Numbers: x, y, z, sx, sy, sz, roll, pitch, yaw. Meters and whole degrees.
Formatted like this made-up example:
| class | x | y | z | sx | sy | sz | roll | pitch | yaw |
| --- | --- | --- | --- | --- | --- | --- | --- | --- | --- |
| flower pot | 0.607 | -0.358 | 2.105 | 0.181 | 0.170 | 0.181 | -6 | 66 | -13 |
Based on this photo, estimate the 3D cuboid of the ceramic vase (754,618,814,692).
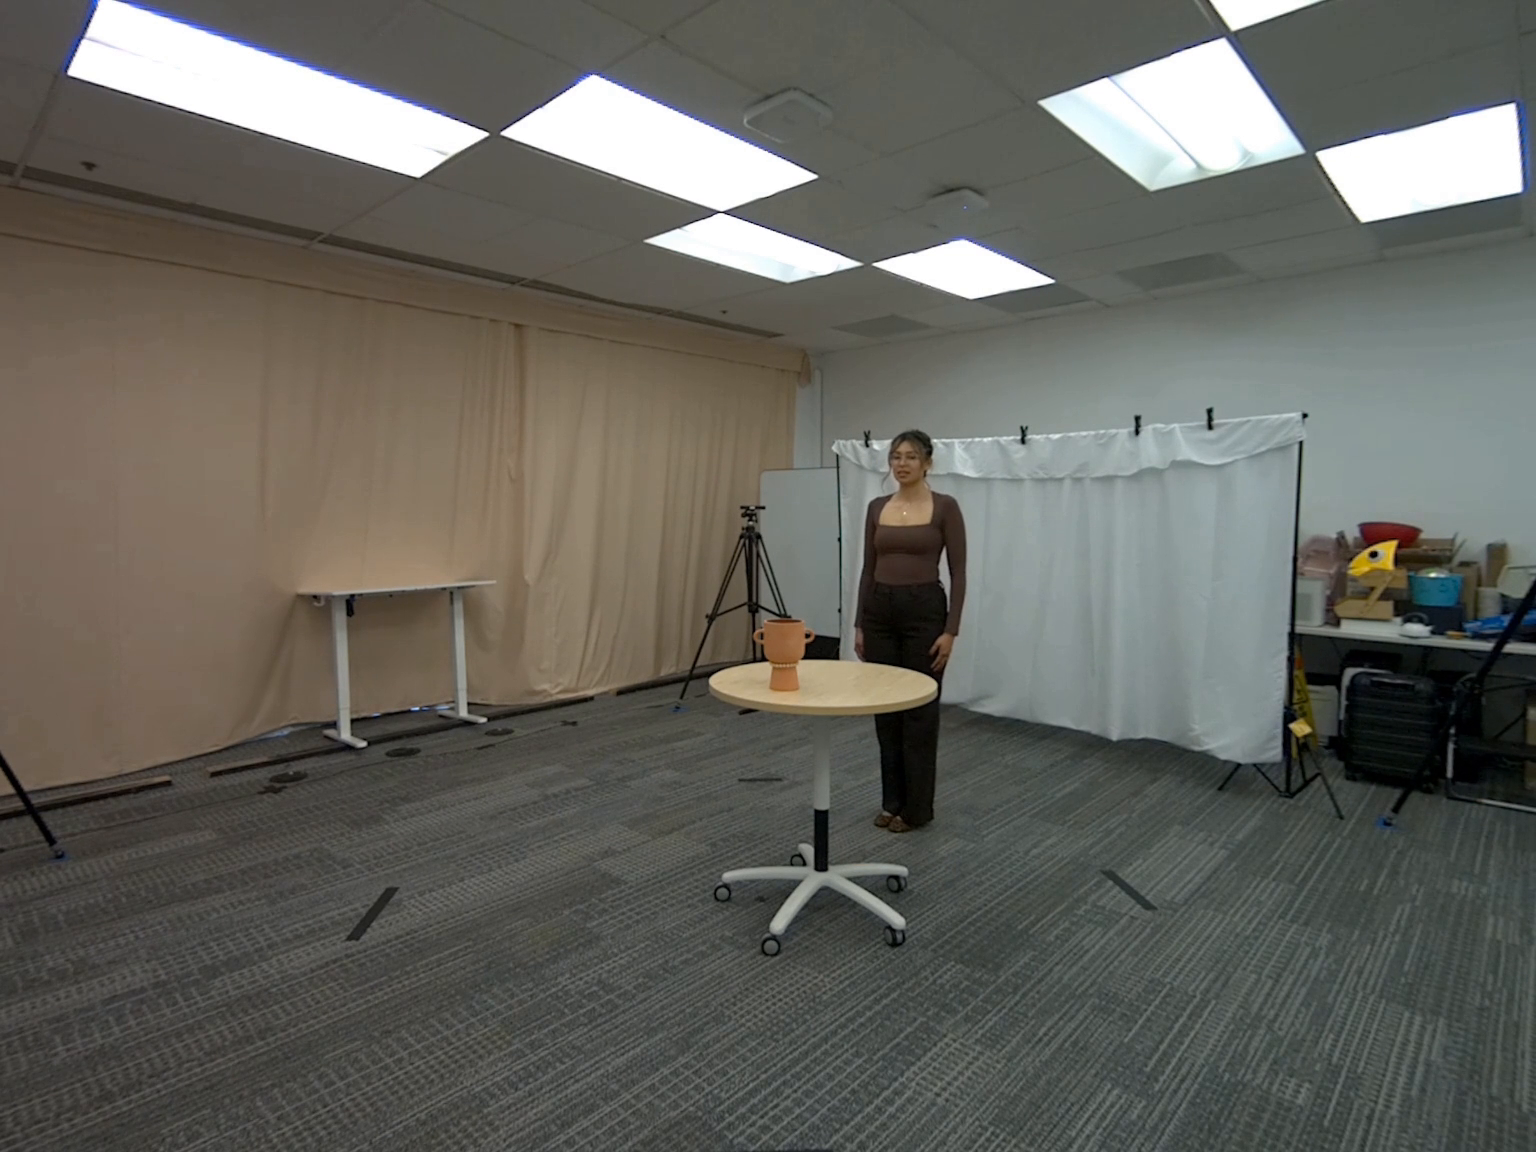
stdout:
| class | x | y | z | sx | sy | sz | roll | pitch | yaw |
| --- | --- | --- | --- | --- | --- | --- | --- | --- | --- |
| ceramic vase | 0.056 | 0.258 | 2.736 | 0.164 | 0.219 | 0.131 | 1 | 3 | 35 |
